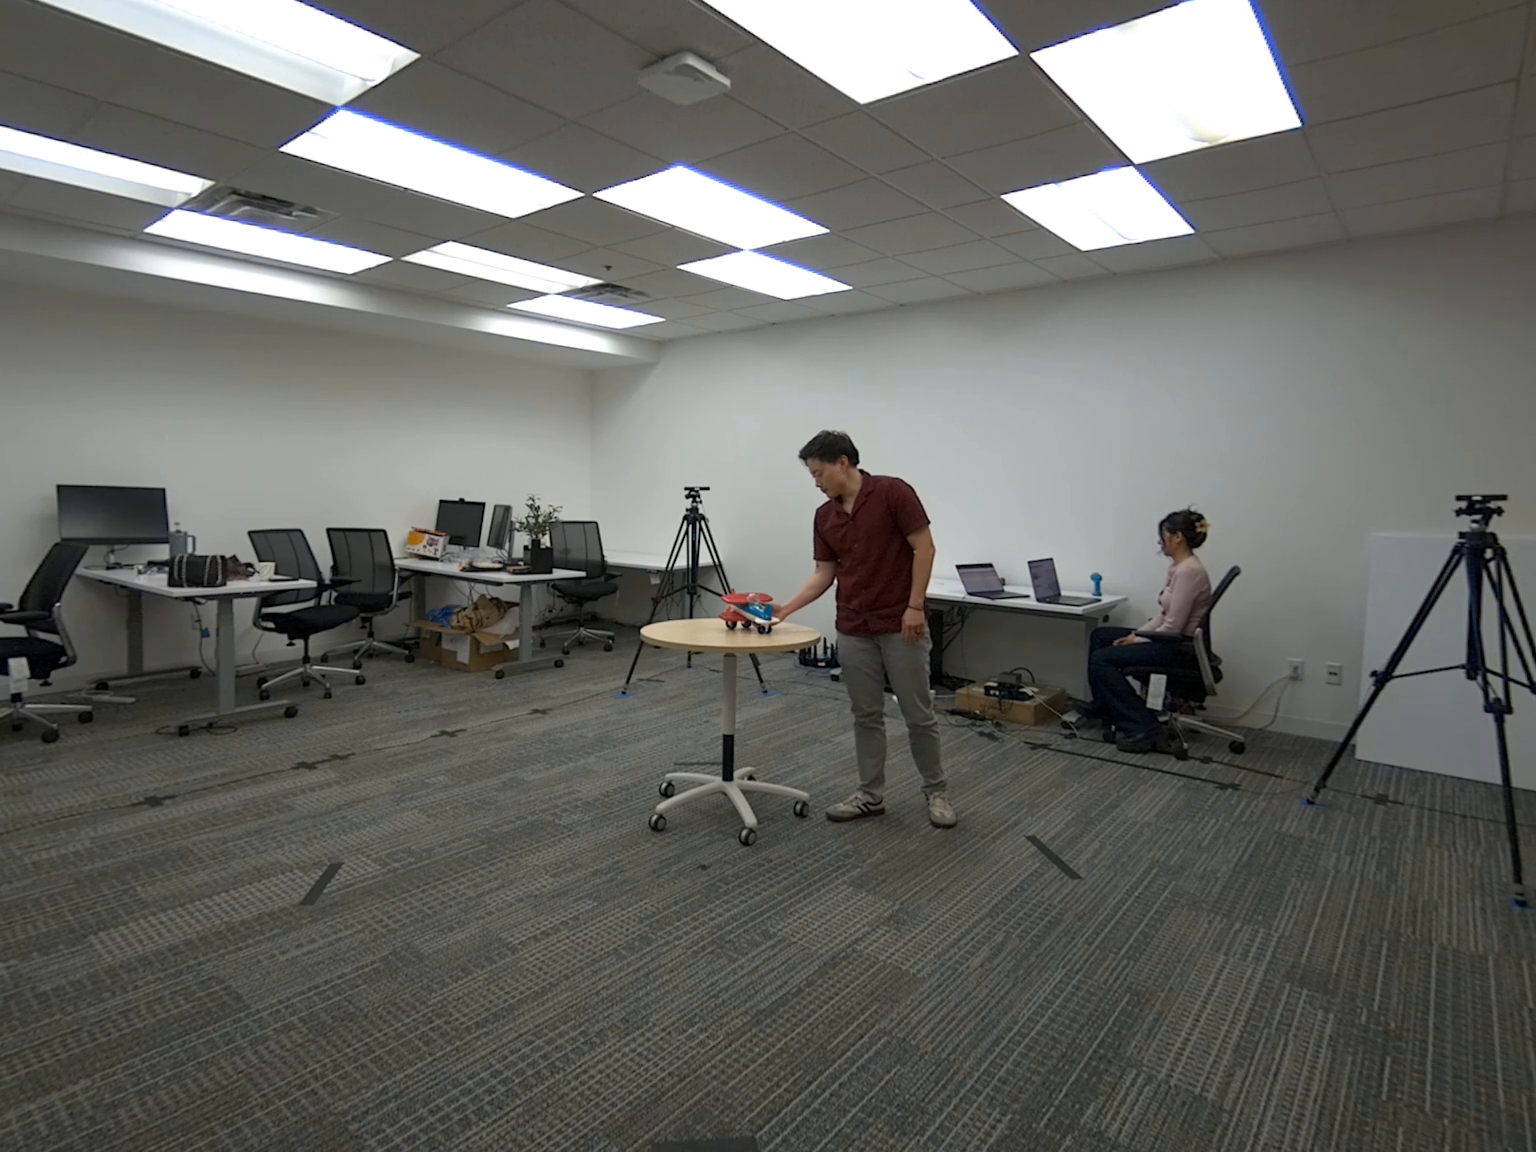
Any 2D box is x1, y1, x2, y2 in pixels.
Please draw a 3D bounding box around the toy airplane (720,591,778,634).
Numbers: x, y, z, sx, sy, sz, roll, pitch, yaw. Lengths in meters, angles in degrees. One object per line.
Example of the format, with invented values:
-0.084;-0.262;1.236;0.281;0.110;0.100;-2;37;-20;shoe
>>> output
-0.070;0.152;3.661;0.266;0.156;0.245;2;3;26;toy airplane
